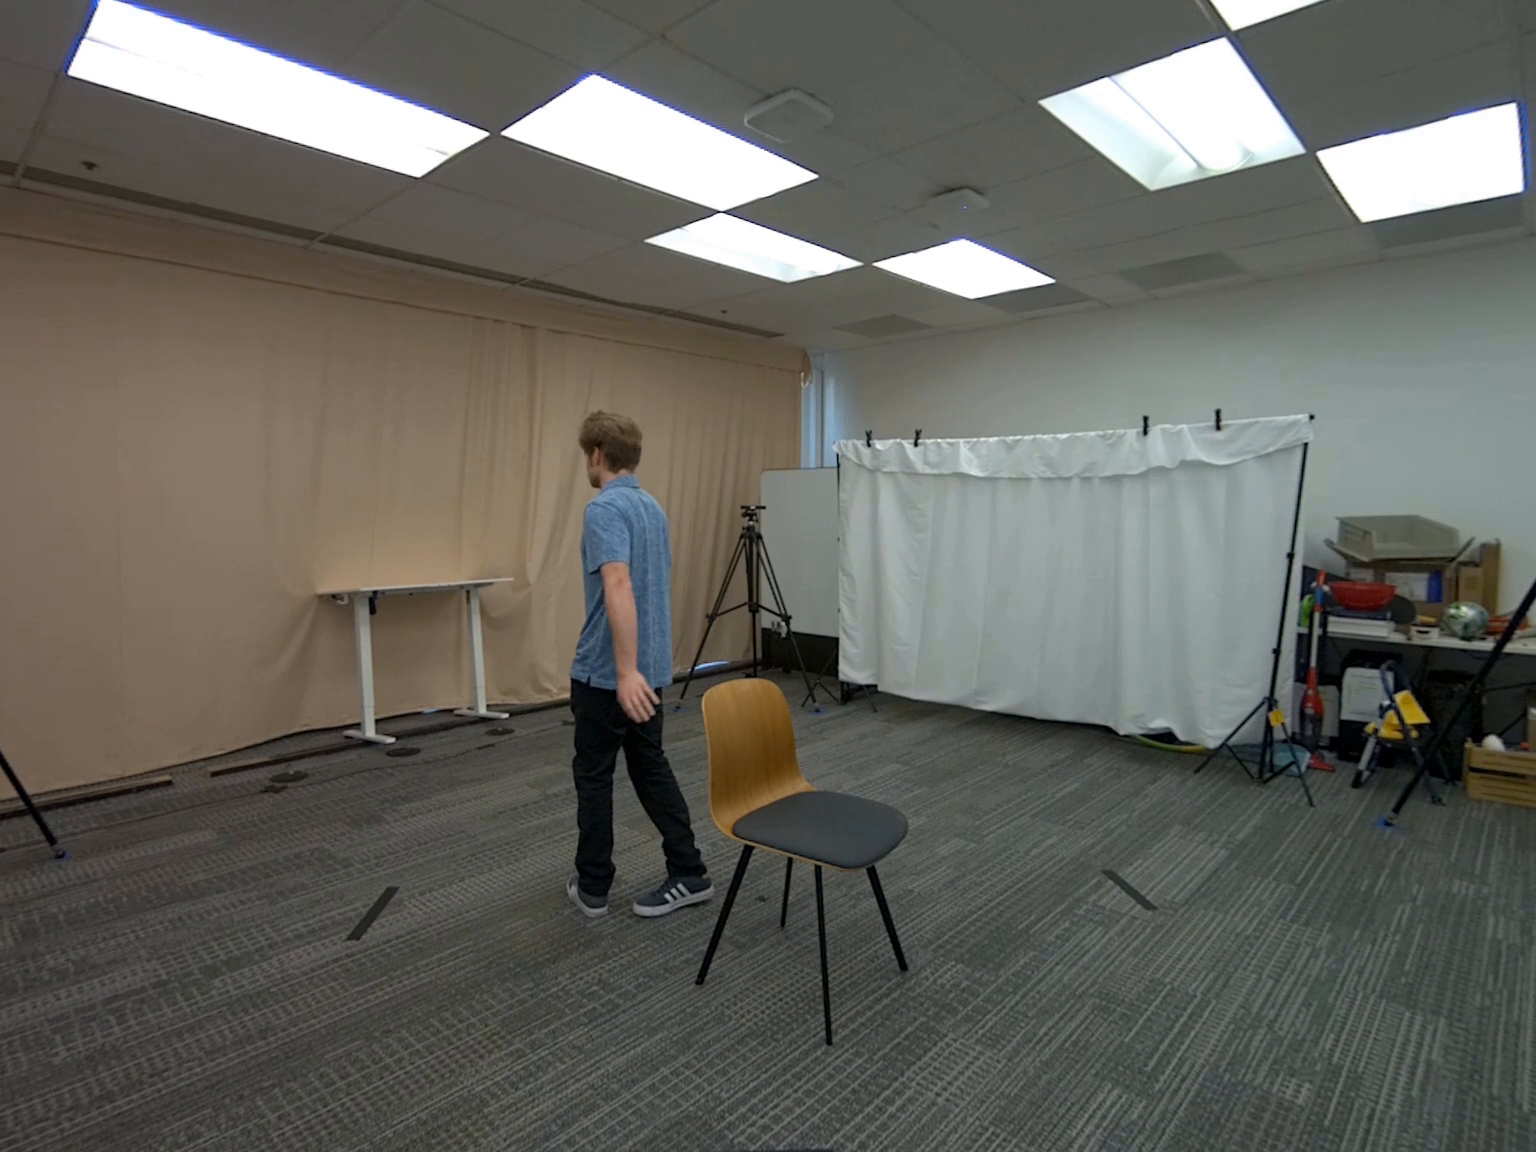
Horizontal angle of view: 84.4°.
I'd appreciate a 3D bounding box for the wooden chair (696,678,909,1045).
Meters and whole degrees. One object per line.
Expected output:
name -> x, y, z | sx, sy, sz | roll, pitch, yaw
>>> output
wooden chair -> 0.116, 0.760, 2.451 | 0.539, 0.877, 0.464 | -4, 0, 37
